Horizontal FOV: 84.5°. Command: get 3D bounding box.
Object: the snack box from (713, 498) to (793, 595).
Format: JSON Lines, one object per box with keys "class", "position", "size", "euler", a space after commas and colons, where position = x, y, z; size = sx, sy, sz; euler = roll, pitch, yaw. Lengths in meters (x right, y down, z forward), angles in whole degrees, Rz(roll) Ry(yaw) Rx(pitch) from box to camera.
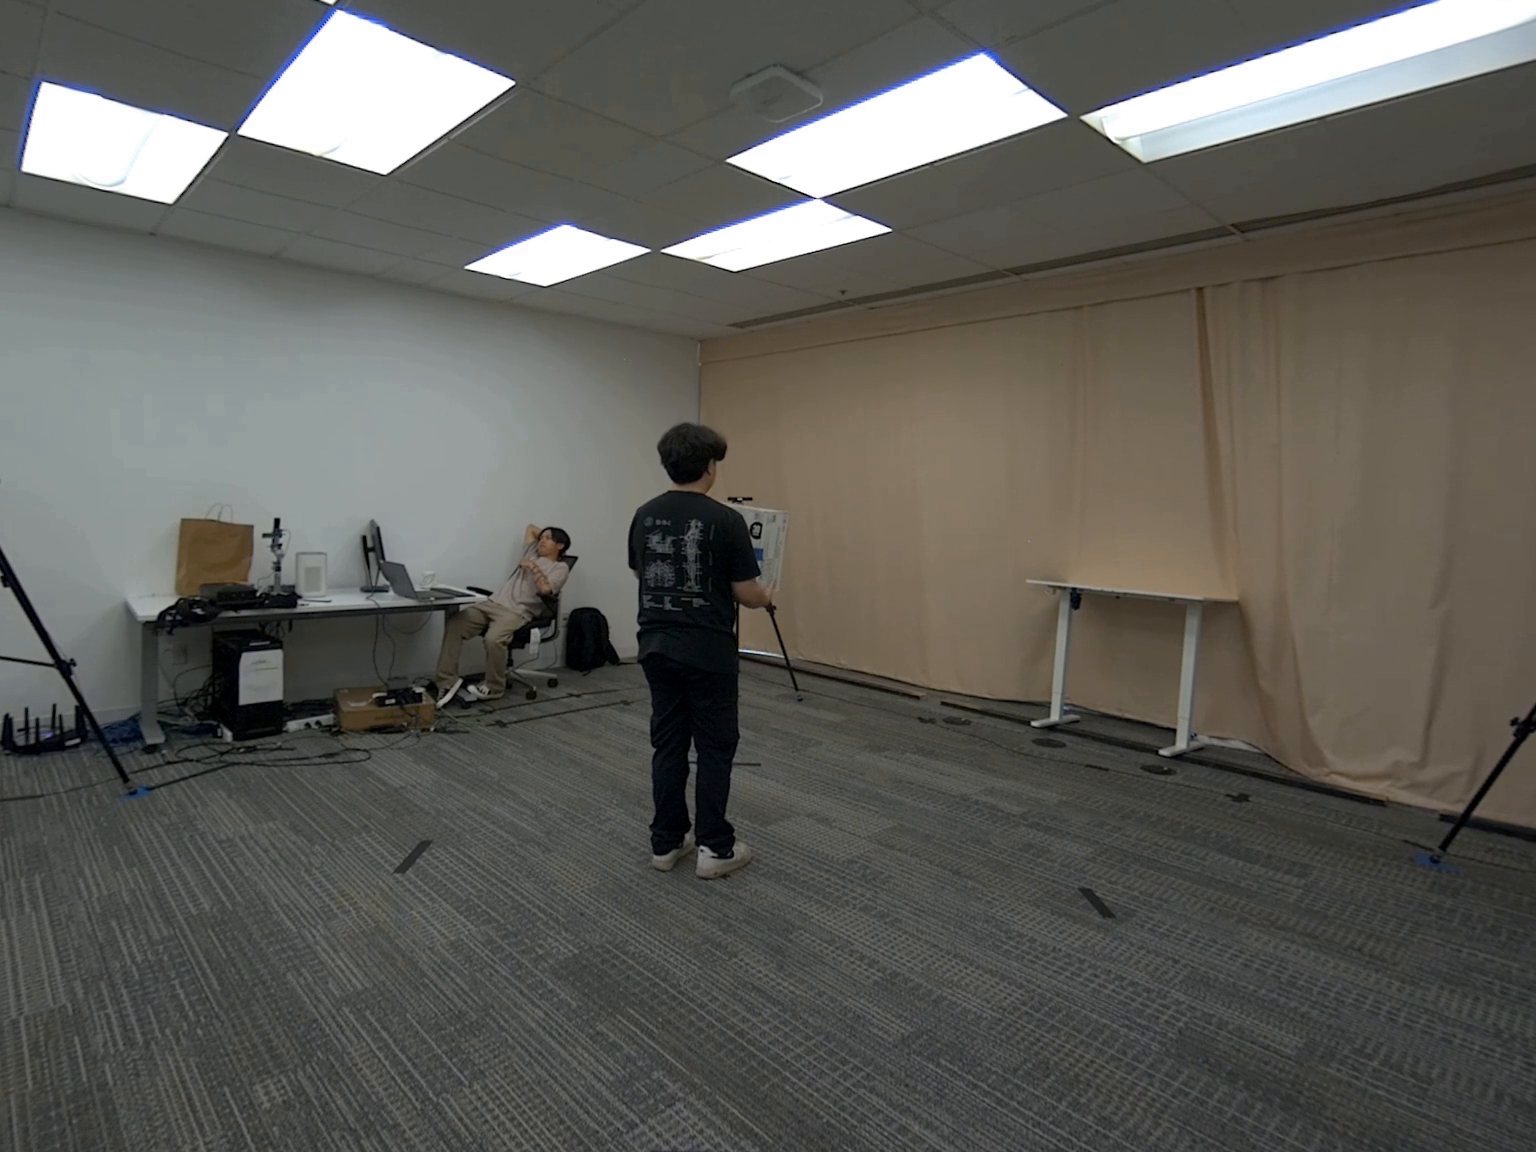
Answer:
{"class": "snack box", "position": [-0.149, -0.129, 3.512], "size": [0.415, 0.339, 0.201], "euler": [12, 8, 31]}
